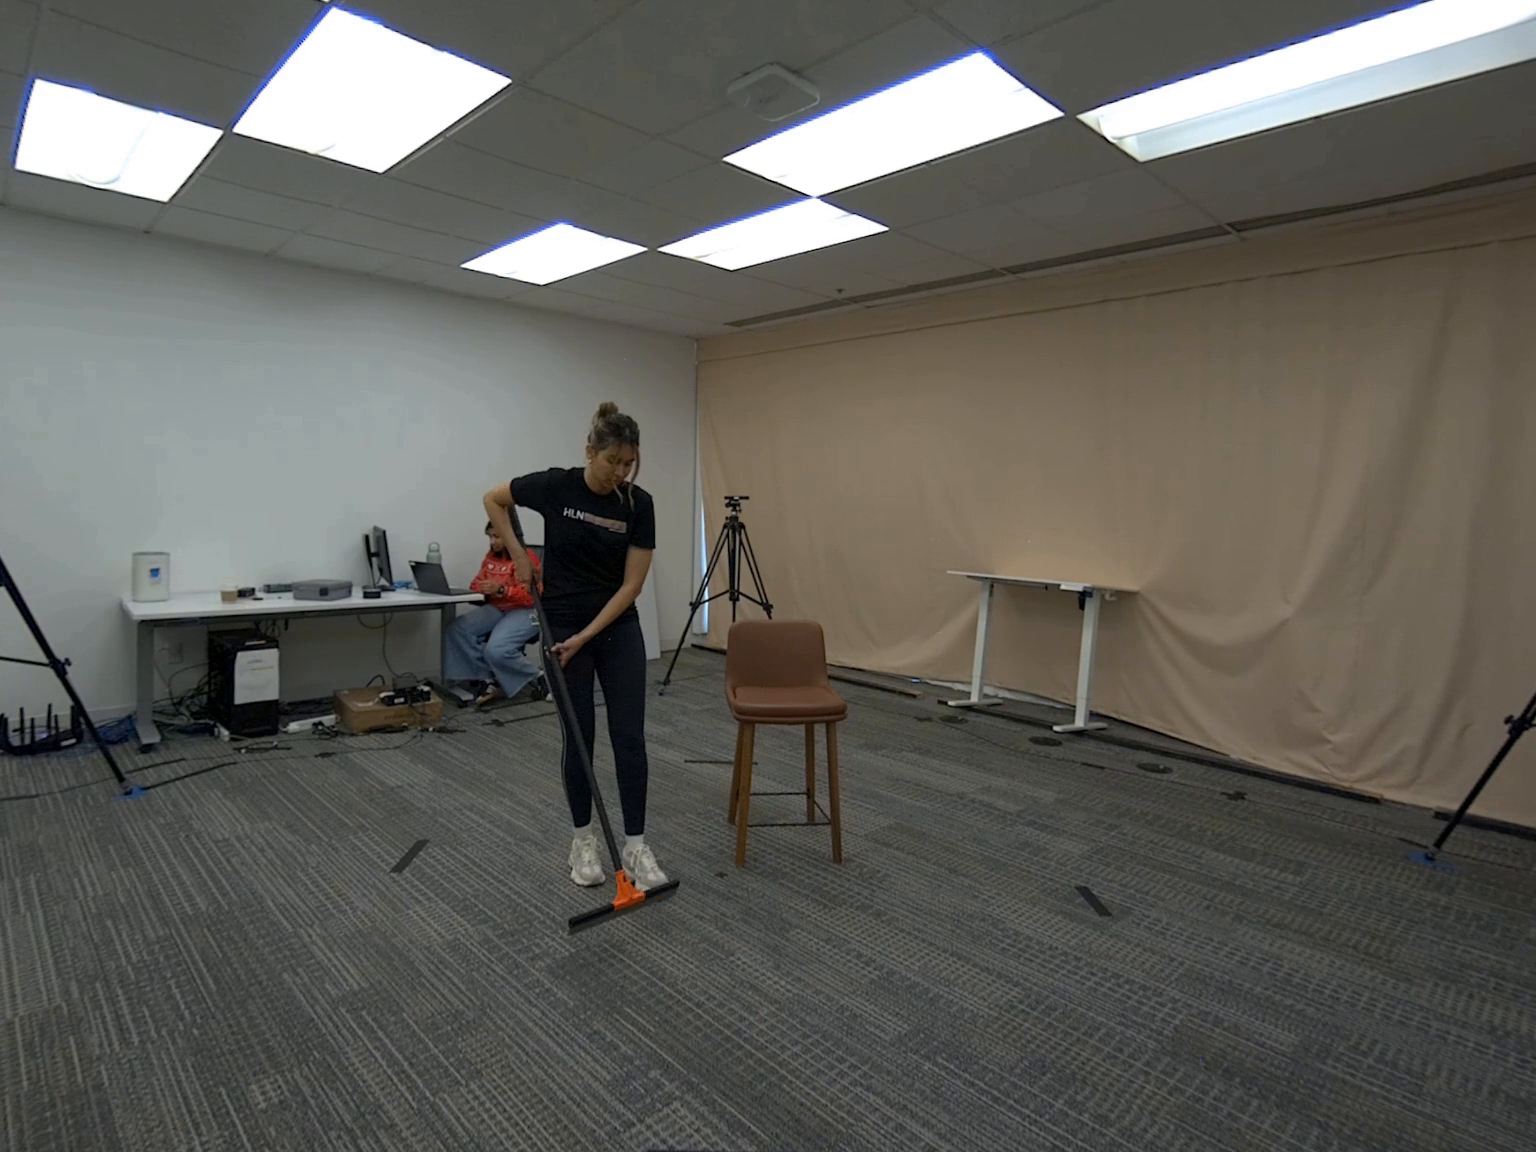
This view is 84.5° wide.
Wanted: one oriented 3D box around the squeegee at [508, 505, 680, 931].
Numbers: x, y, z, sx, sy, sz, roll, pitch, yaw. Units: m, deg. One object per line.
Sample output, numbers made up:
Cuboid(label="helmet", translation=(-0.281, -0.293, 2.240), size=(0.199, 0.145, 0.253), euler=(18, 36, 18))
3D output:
Cuboid(label="squeegee", translation=(-0.719, 0.380, 2.874), size=(0.427, 1.568, 0.053), euler=(-2, -30, -48))
